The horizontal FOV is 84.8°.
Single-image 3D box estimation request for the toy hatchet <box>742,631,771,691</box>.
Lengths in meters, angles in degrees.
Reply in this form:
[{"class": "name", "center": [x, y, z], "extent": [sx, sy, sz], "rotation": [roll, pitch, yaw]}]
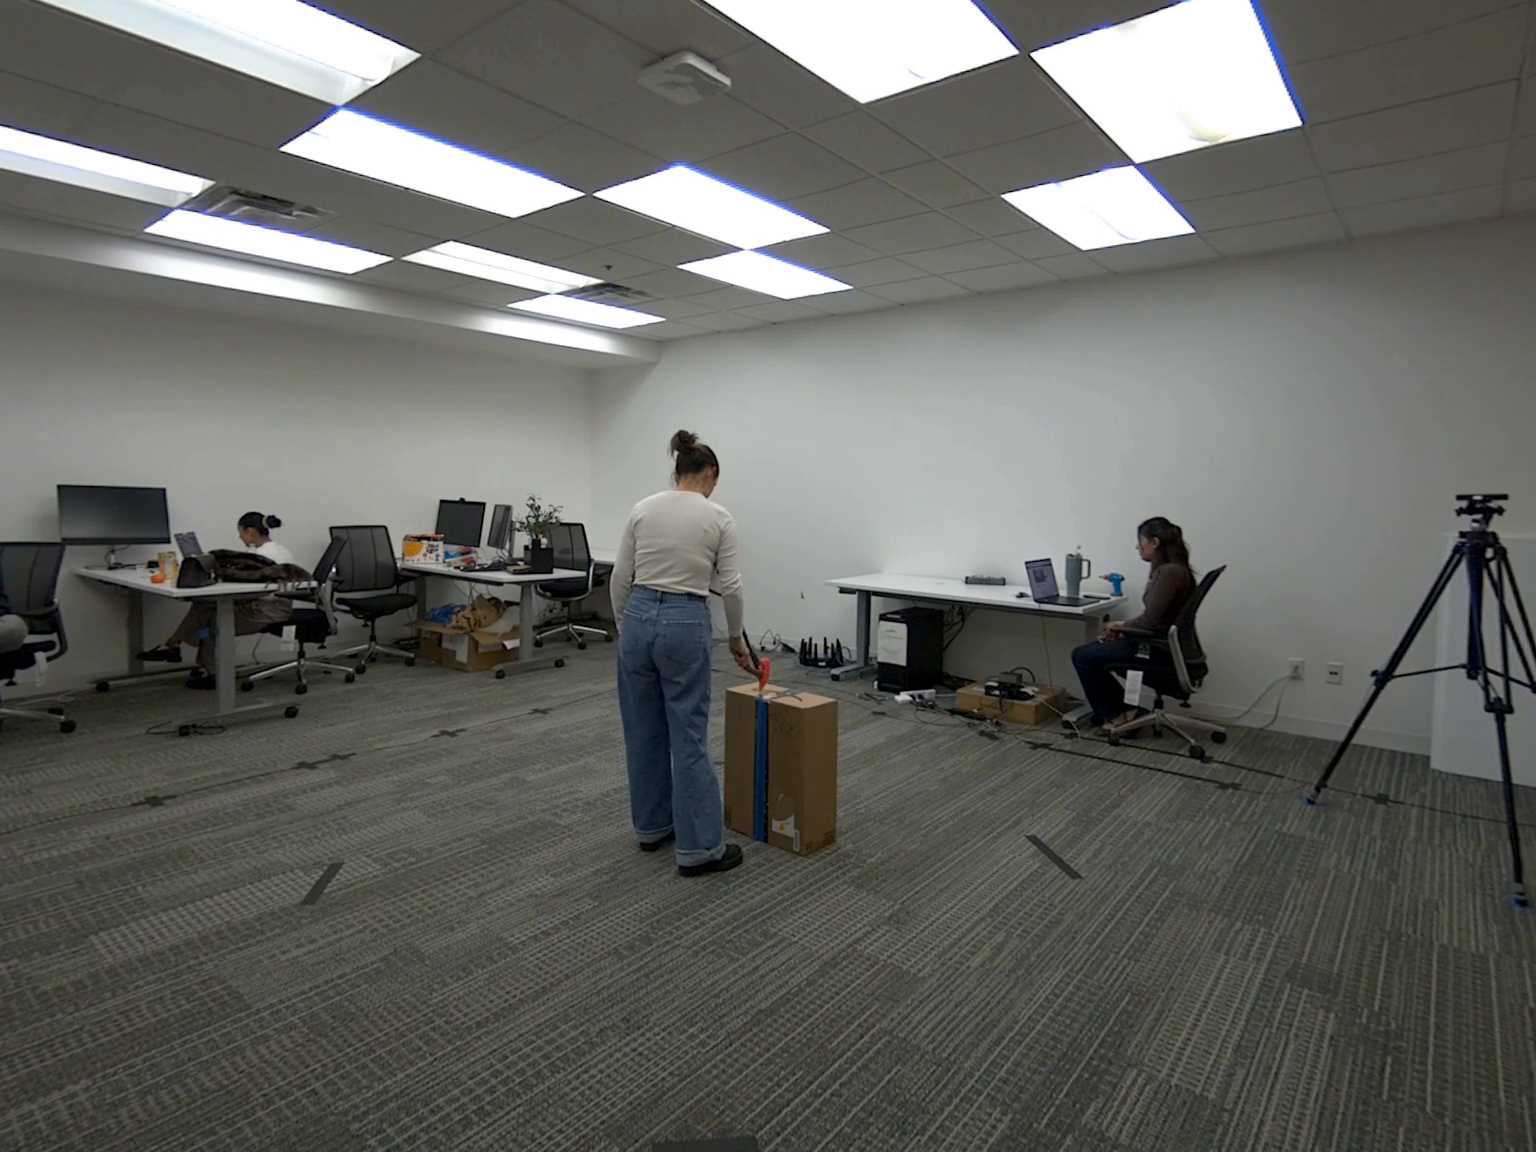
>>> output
[{"class": "toy hatchet", "center": [-0.055, 0.342, 3.409], "extent": [0.030, 0.132, 0.259], "rotation": [9, -32, 32]}]
